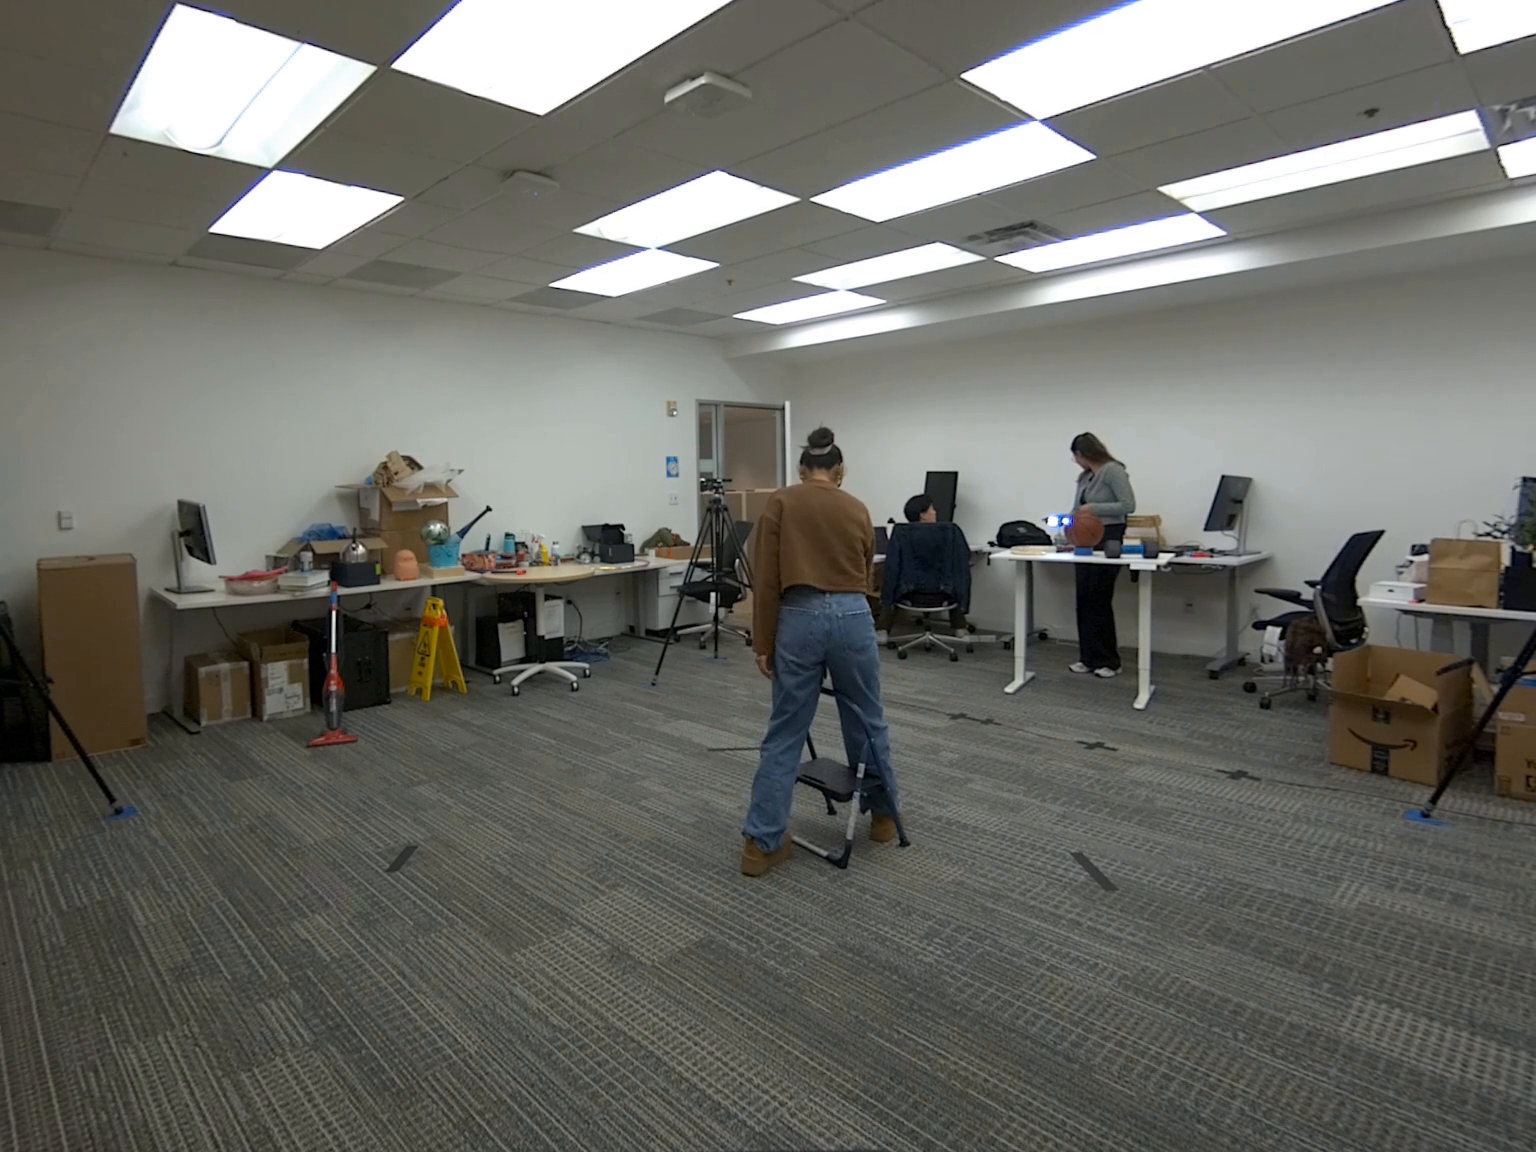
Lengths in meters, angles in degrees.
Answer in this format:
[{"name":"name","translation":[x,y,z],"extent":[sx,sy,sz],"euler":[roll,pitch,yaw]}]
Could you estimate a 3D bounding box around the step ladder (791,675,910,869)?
[{"name":"step ladder","translation":[0.266,0.714,3.288],"extent":[0.340,0.604,0.443],"euler":[-5,6,-38]}]
